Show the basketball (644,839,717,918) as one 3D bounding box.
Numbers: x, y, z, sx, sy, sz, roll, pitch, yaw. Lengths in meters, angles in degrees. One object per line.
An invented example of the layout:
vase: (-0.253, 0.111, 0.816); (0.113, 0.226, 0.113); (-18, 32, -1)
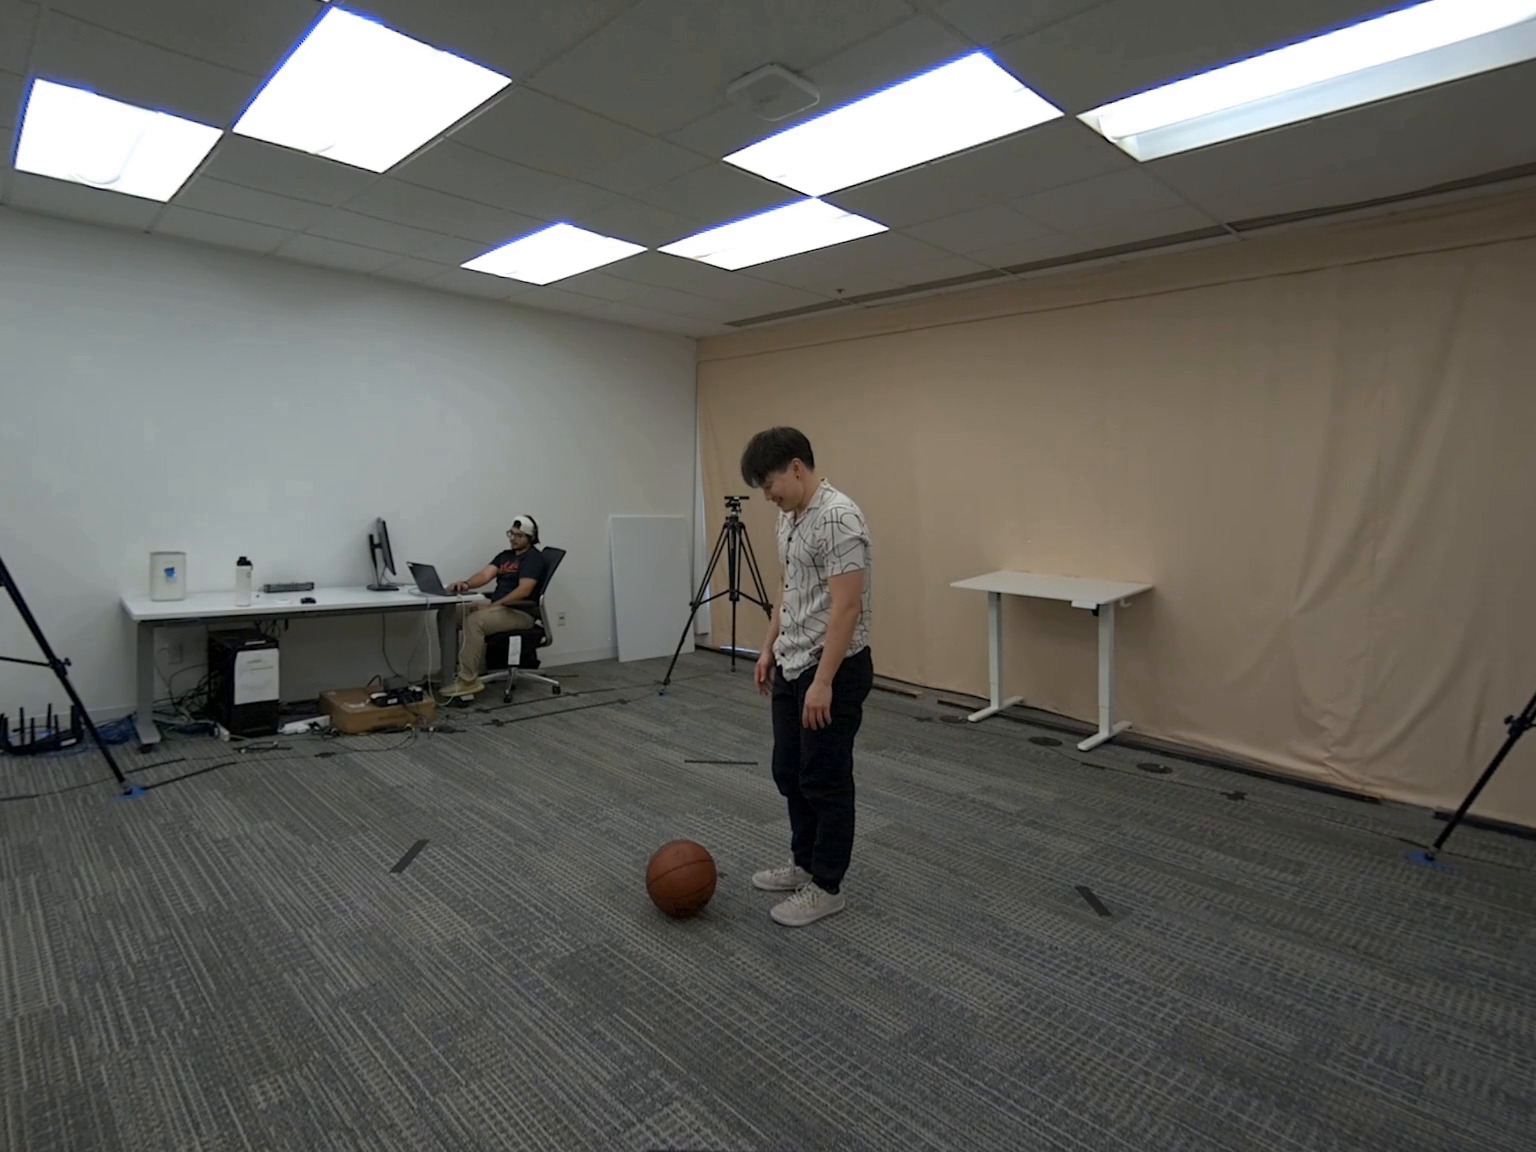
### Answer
basketball: (-0.292, 1.003, 2.805); (0.236, 0.235, 0.237); (1, 4, -1)
